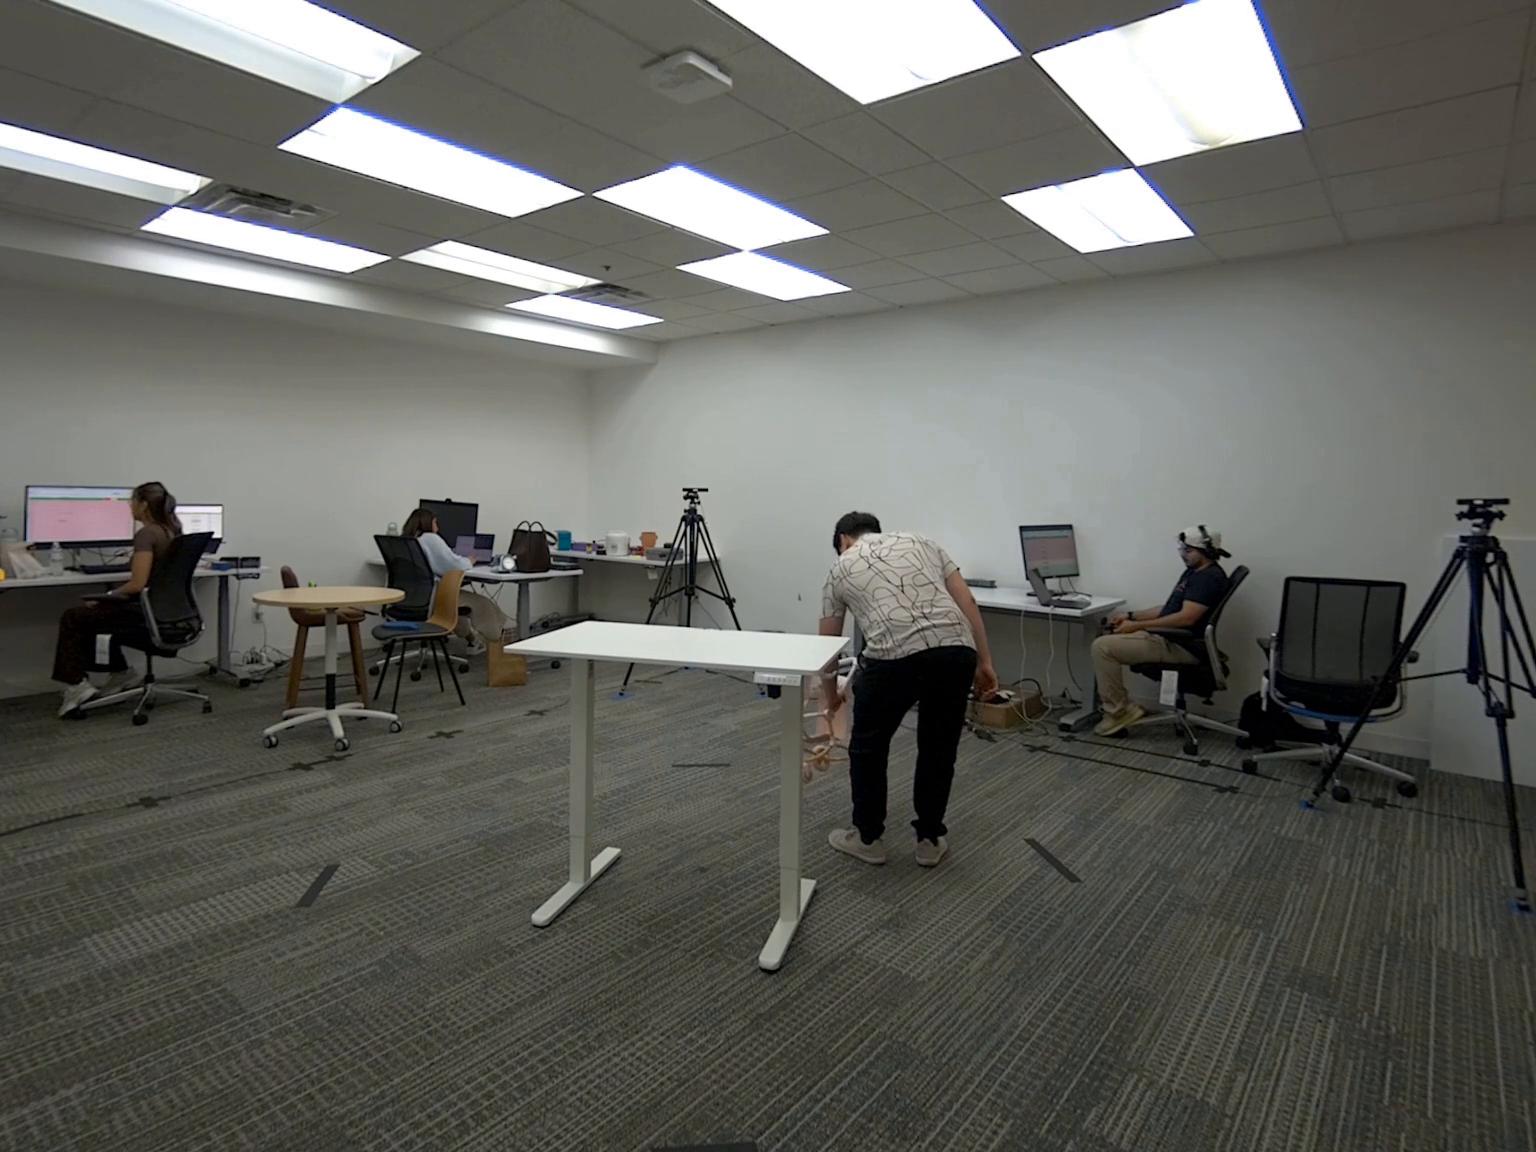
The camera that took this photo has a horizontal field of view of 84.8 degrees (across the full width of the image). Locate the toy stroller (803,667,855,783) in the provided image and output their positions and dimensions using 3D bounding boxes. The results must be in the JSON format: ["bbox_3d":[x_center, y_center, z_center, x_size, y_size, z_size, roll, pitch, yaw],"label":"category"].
[{"bbox_3d":[0.223,0.600,3.607,0.329,0.545,0.286,13,-23,-37],"label":"toy stroller"}]
